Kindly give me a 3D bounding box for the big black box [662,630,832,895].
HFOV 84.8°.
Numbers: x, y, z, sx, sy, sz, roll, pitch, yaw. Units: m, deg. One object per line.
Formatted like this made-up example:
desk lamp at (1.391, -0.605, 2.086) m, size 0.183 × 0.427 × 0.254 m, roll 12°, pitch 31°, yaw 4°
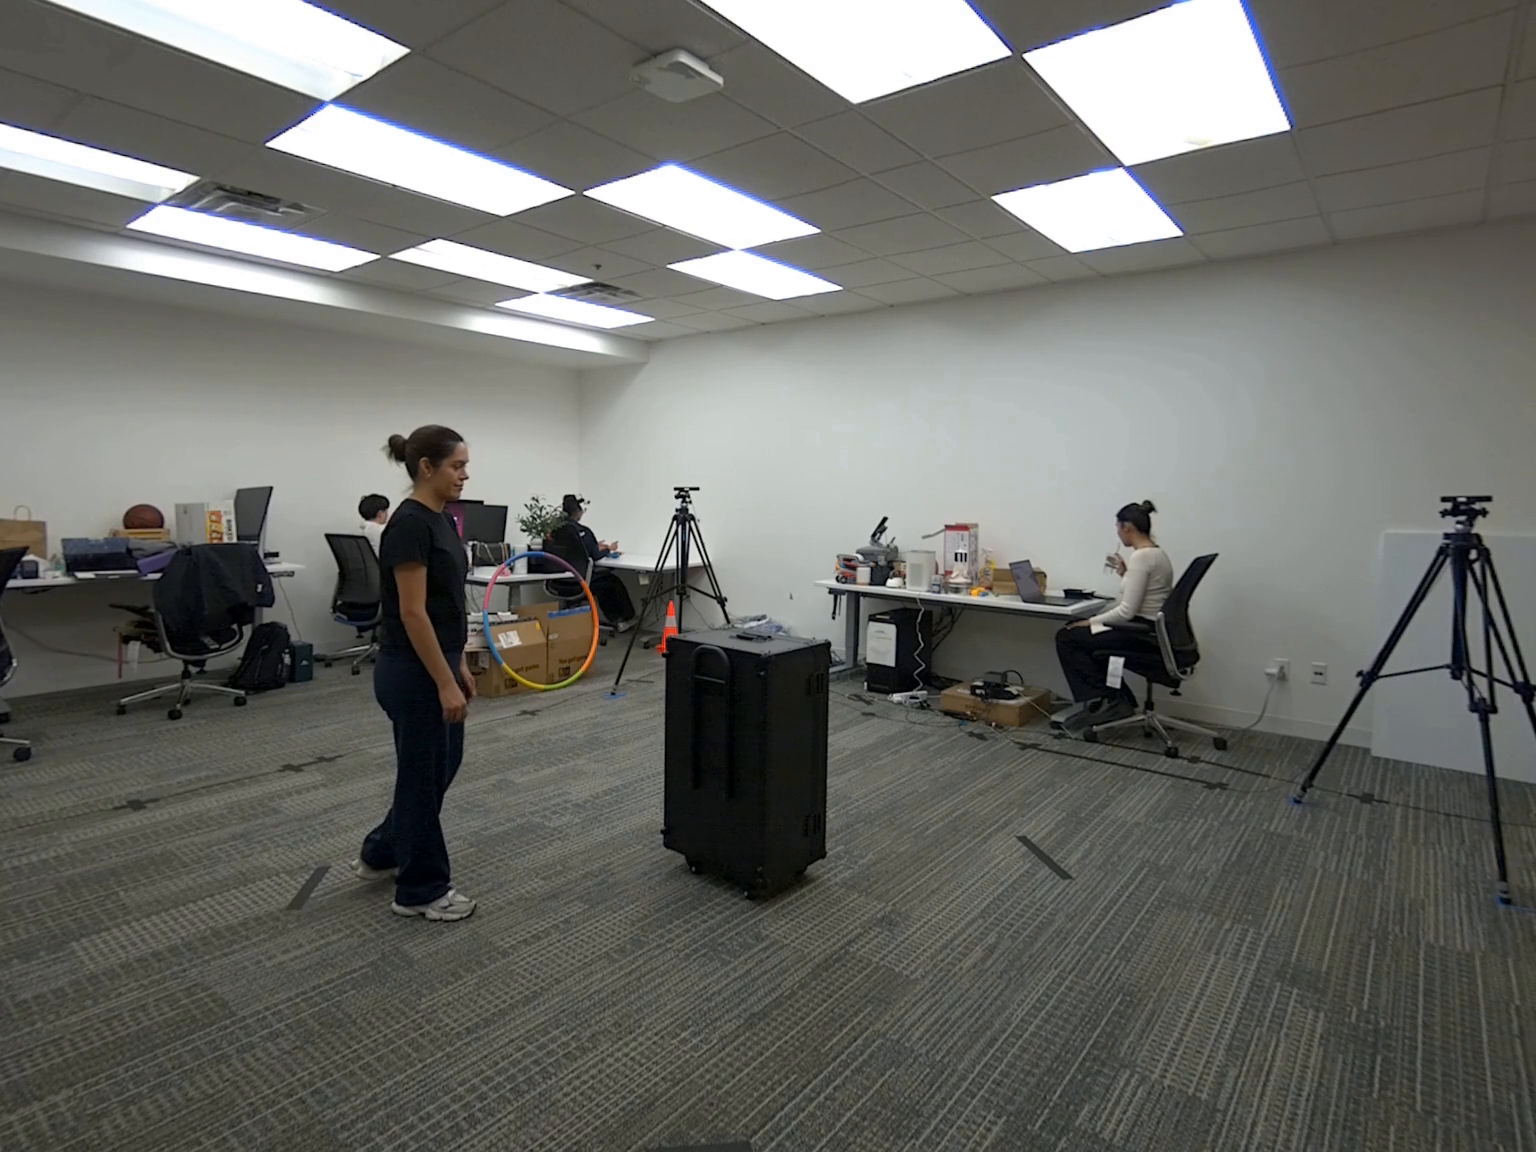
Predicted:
big black box at (-0.067, 0.650, 3.072) m, size 0.539 × 0.859 × 0.384 m, roll 4°, pitch 4°, yaw 40°
